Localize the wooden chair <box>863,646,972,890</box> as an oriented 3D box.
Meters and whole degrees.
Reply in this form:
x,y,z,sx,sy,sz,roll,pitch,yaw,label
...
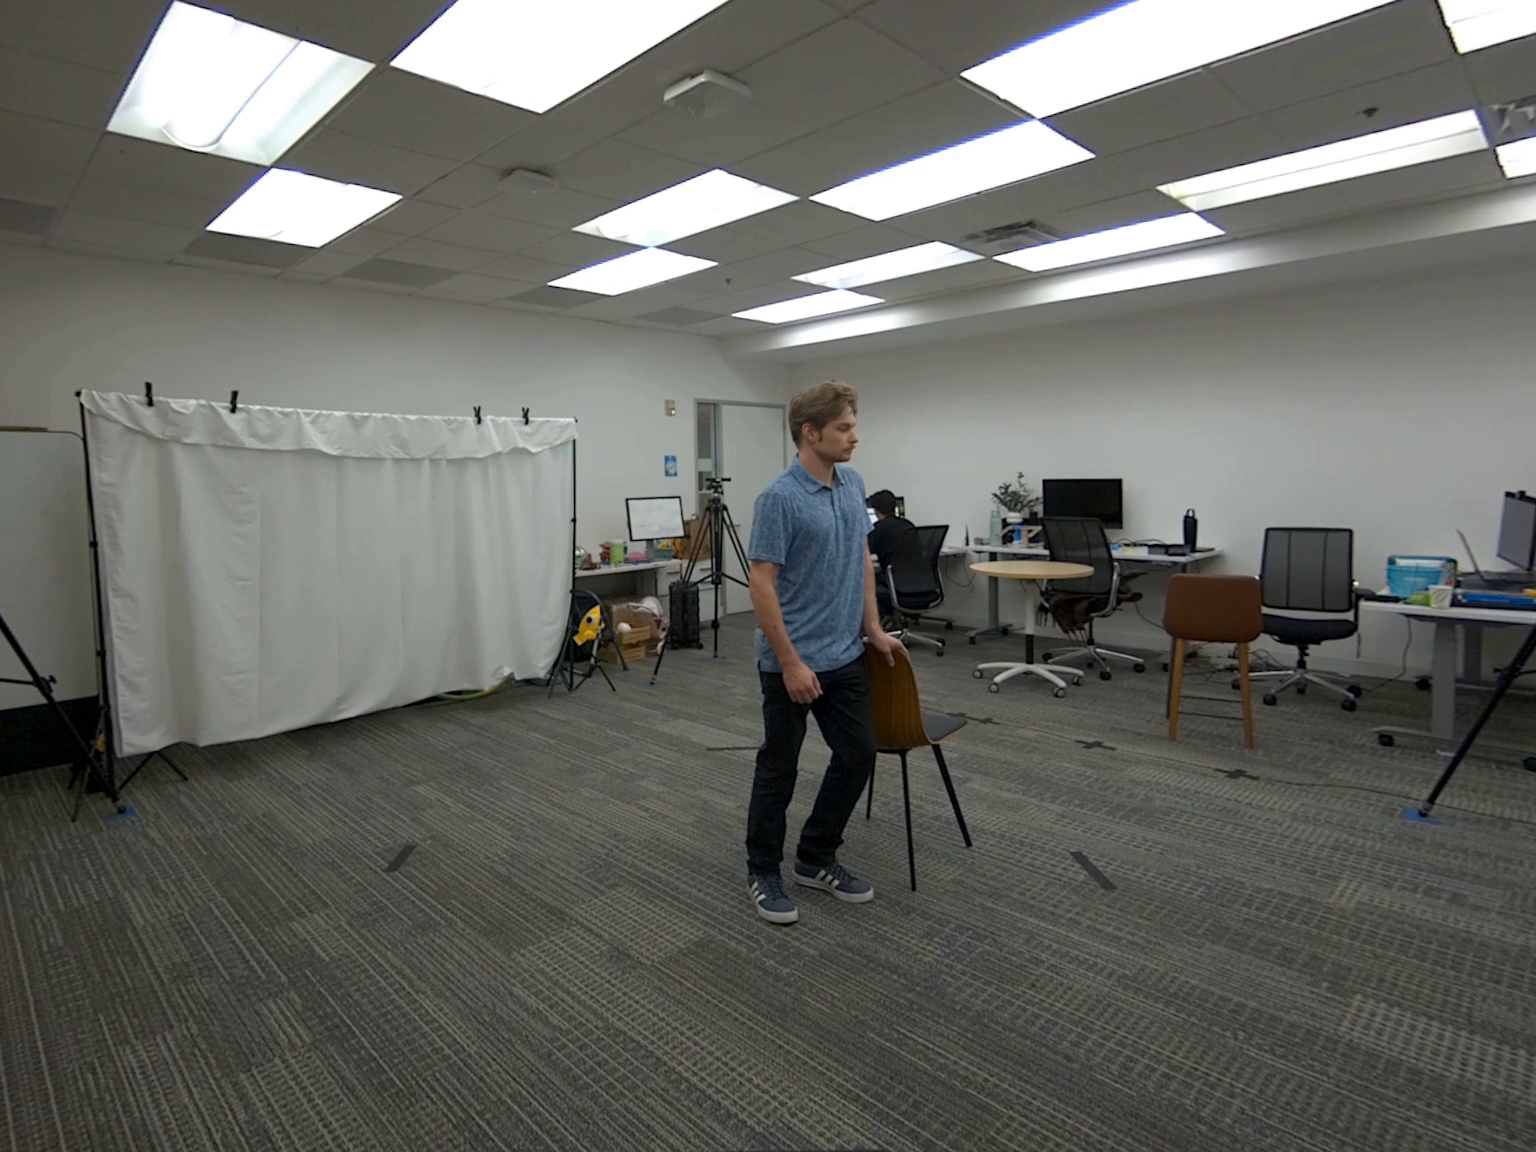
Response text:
x,y,z,sx,sy,sz,roll,pitch,yaw,label
0.449,0.597,3.161,0.492,0.871,0.512,2,10,38,wooden chair
